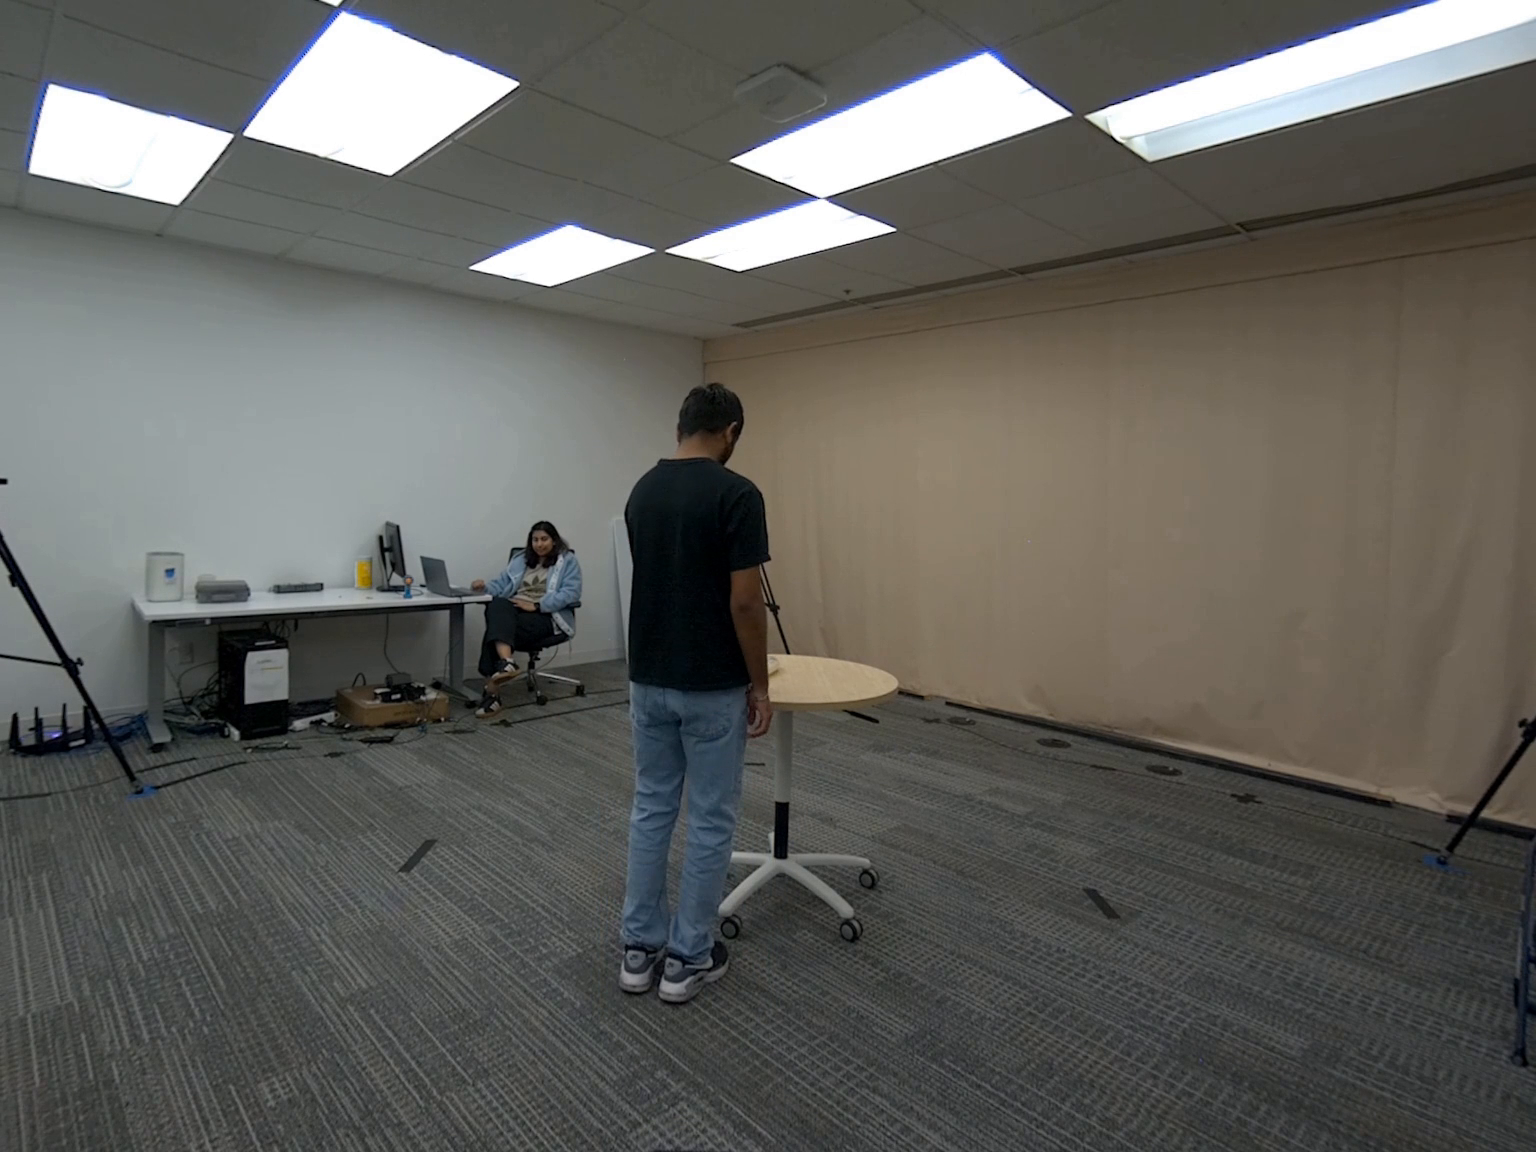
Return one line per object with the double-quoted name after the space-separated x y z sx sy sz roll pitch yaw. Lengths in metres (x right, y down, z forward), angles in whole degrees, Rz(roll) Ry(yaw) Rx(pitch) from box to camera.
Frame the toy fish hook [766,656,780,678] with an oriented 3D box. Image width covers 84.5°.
-0.090 0.338 2.840 0.226 0.048 0.504 -5 3 8 "toy fish hook"
